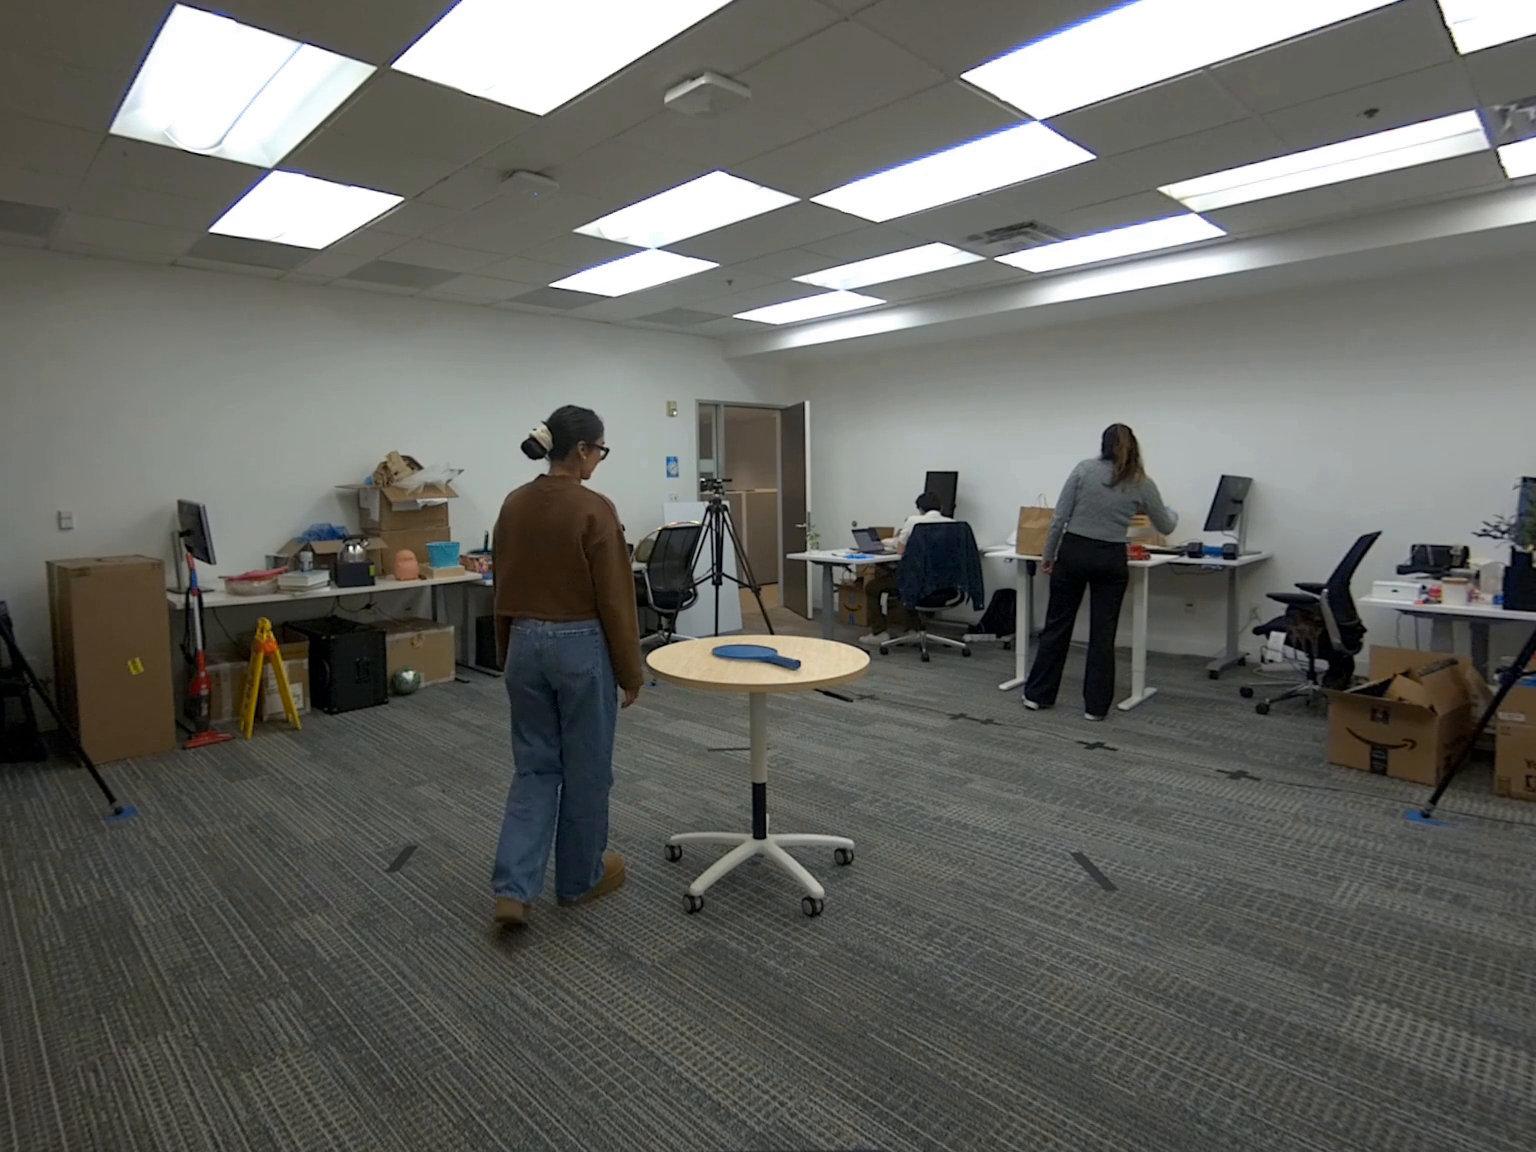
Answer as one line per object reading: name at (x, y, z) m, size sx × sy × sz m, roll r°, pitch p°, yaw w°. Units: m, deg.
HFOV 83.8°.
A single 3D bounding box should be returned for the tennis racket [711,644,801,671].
tennis racket at (-0.032, 0.276, 2.920) m, size 0.208 × 0.031 × 0.445 m, roll -5°, pitch 6°, yaw -33°
